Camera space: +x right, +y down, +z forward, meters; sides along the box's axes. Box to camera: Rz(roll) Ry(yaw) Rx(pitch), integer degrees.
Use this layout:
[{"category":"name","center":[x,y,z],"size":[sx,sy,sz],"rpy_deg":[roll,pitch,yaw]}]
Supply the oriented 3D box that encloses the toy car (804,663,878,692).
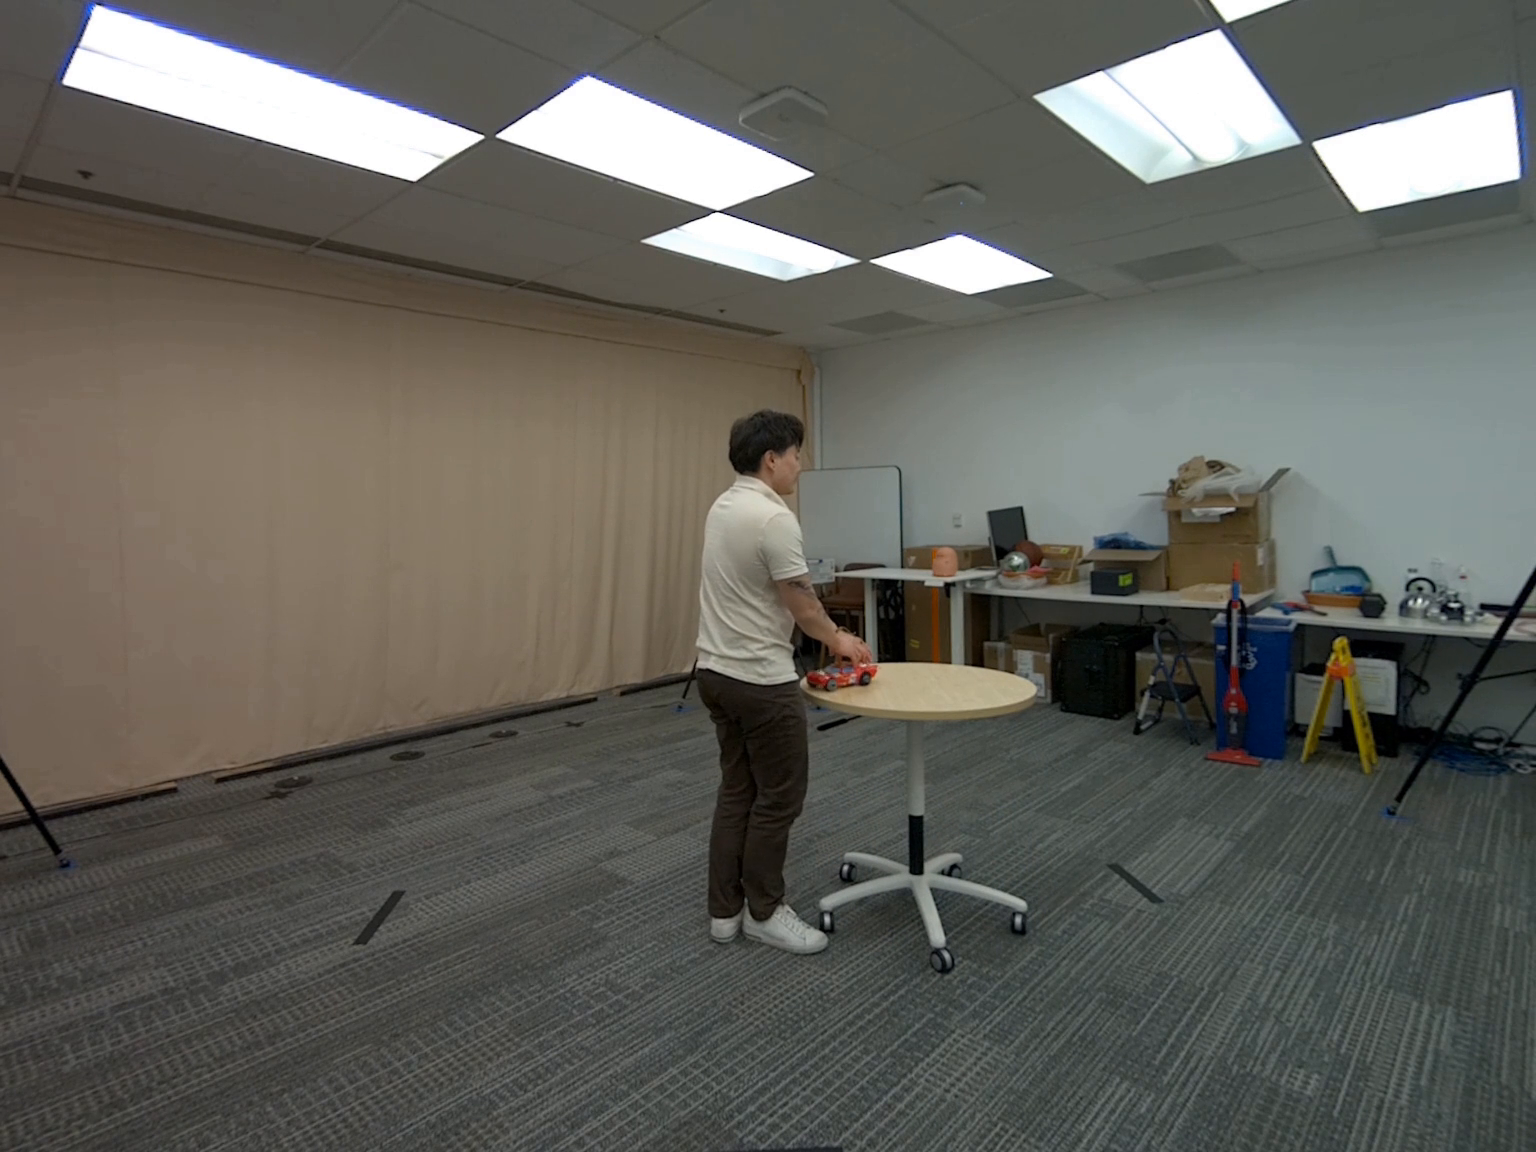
[{"category":"toy car","center":[0.265,0.337,2.810],"size":[0.249,0.082,0.134],"rpy_deg":[-17,12,-32]}]
